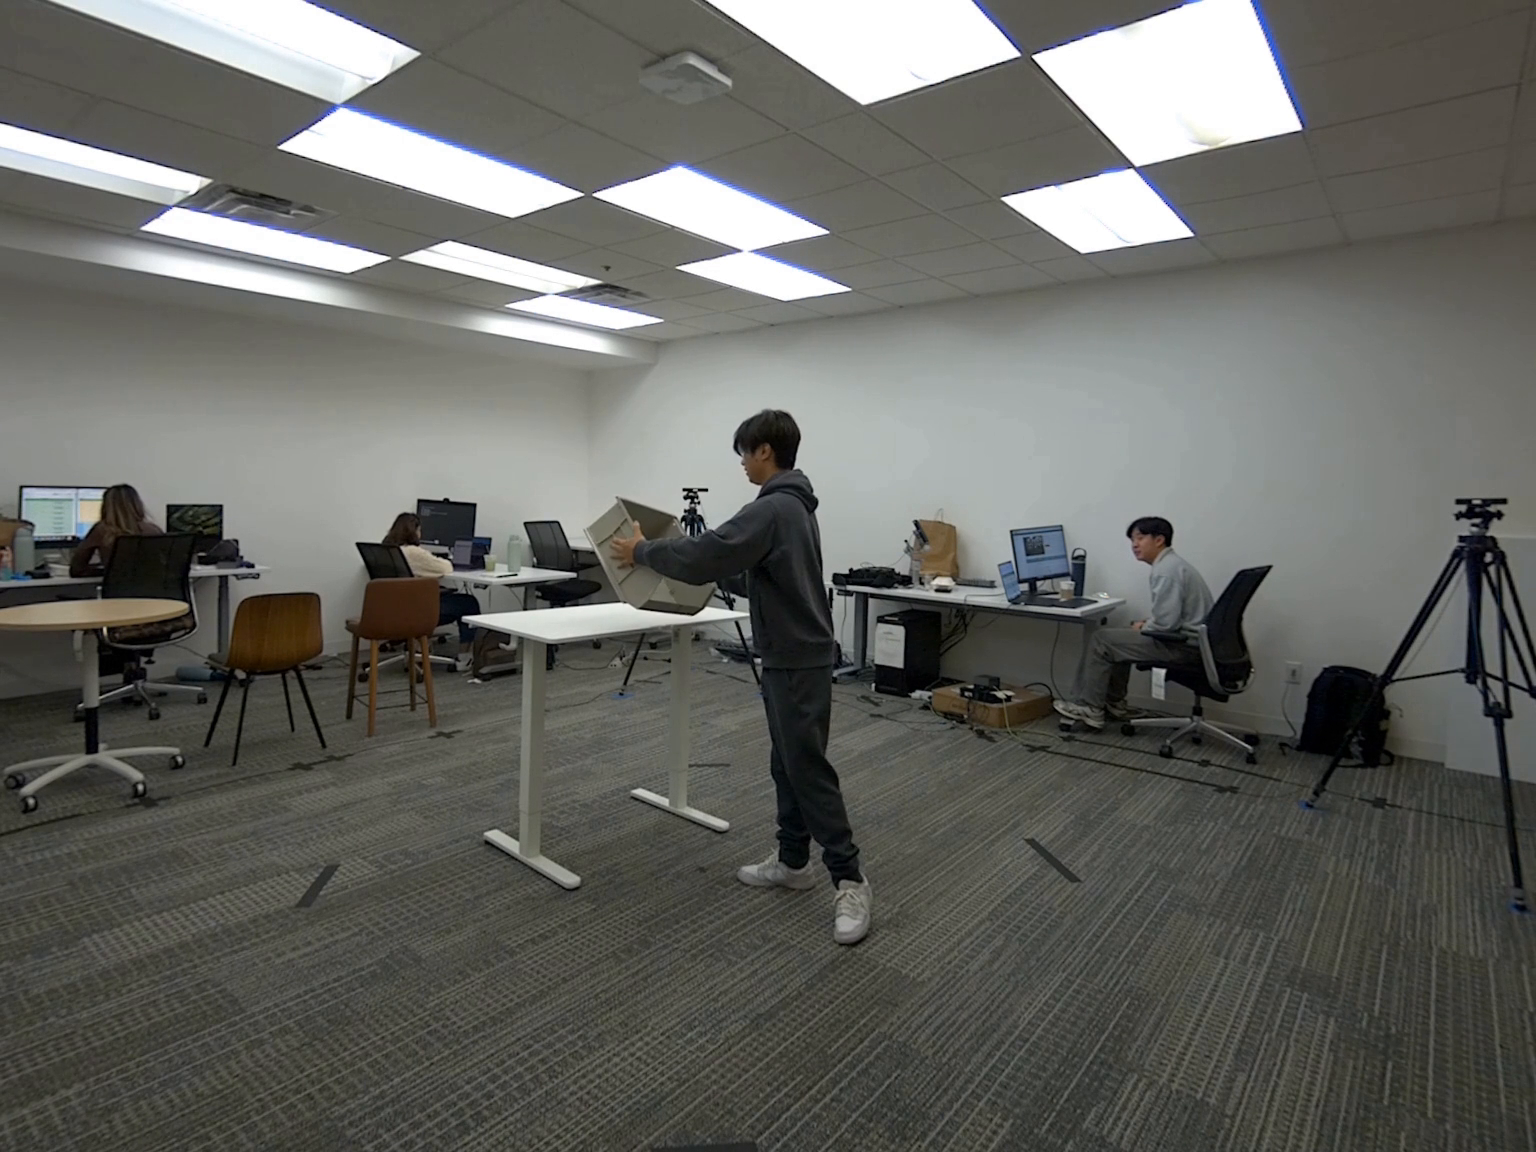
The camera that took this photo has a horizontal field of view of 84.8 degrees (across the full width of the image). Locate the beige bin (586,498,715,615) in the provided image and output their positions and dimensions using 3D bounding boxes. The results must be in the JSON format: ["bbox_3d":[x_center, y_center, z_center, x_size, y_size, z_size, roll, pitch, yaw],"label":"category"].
[{"bbox_3d":[-0.423,-0.053,3.067,0.189,0.388,0.409,-39,-21,15],"label":"beige bin"}]
